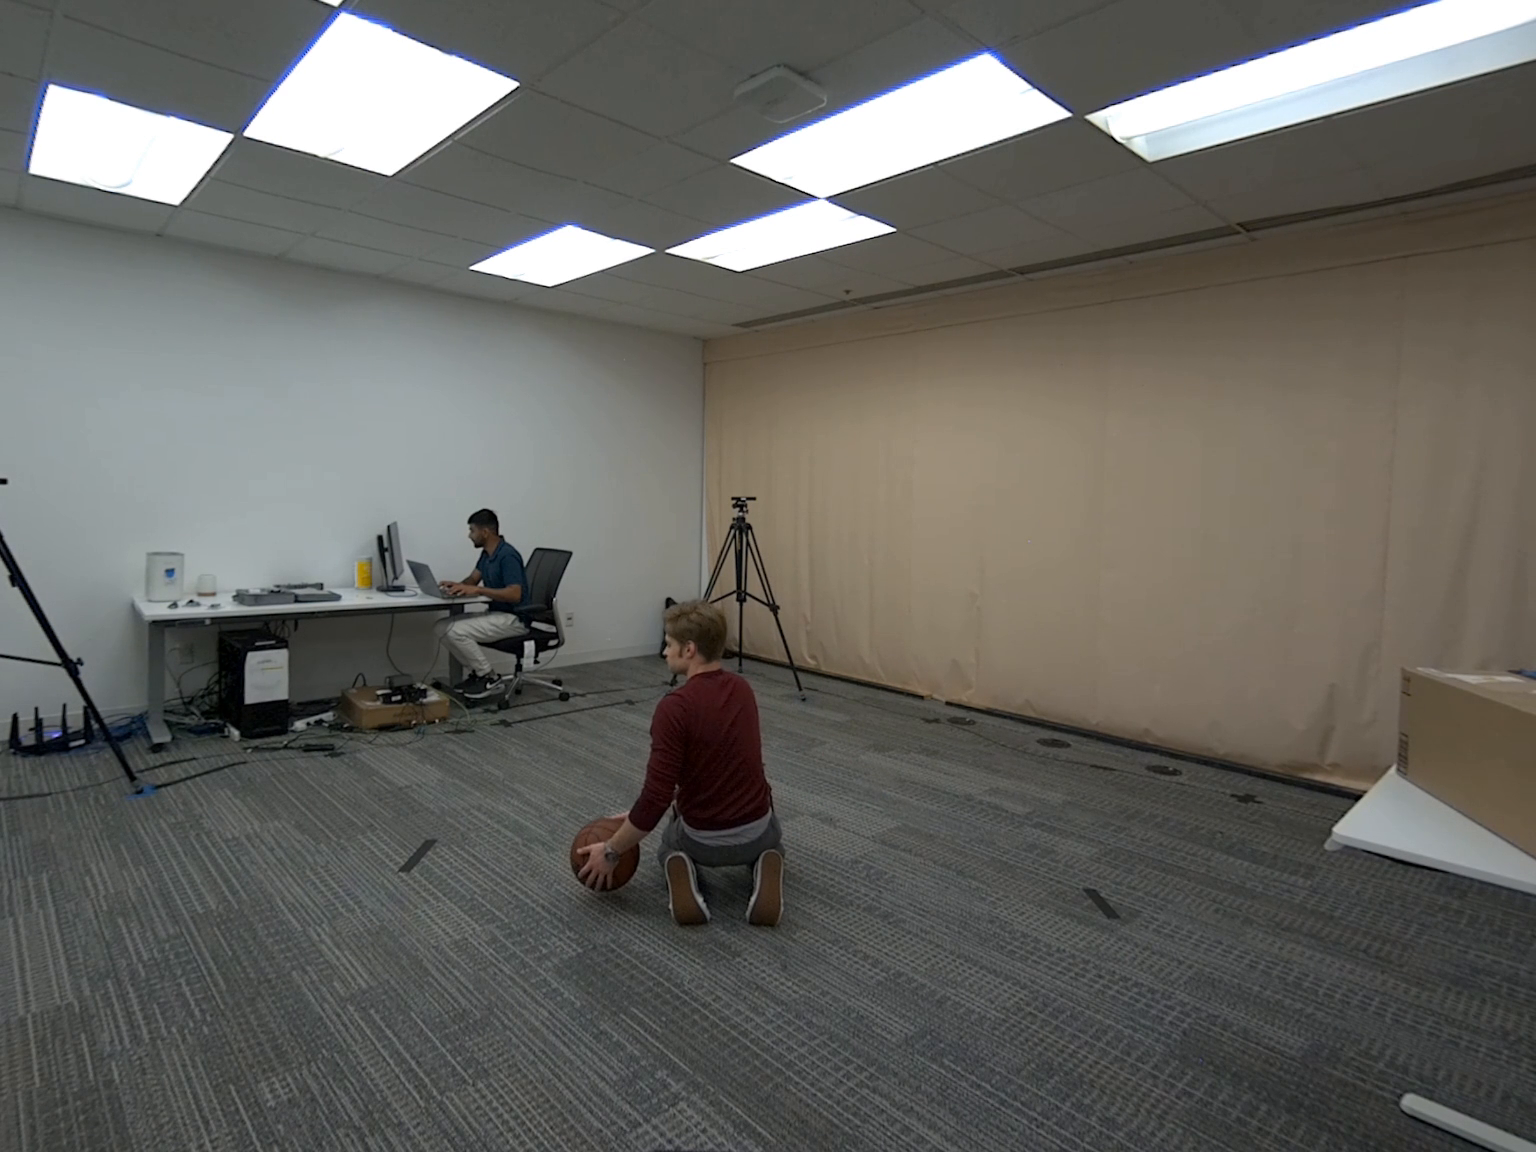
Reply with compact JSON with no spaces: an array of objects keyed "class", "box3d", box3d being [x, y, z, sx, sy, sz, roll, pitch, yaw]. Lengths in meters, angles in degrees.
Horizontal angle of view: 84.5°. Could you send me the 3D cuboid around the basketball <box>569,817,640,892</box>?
[{"class":"basketball","box3d":[-0.564,0.948,2.900,0.236,0.235,0.237,1,4,-1]}]
